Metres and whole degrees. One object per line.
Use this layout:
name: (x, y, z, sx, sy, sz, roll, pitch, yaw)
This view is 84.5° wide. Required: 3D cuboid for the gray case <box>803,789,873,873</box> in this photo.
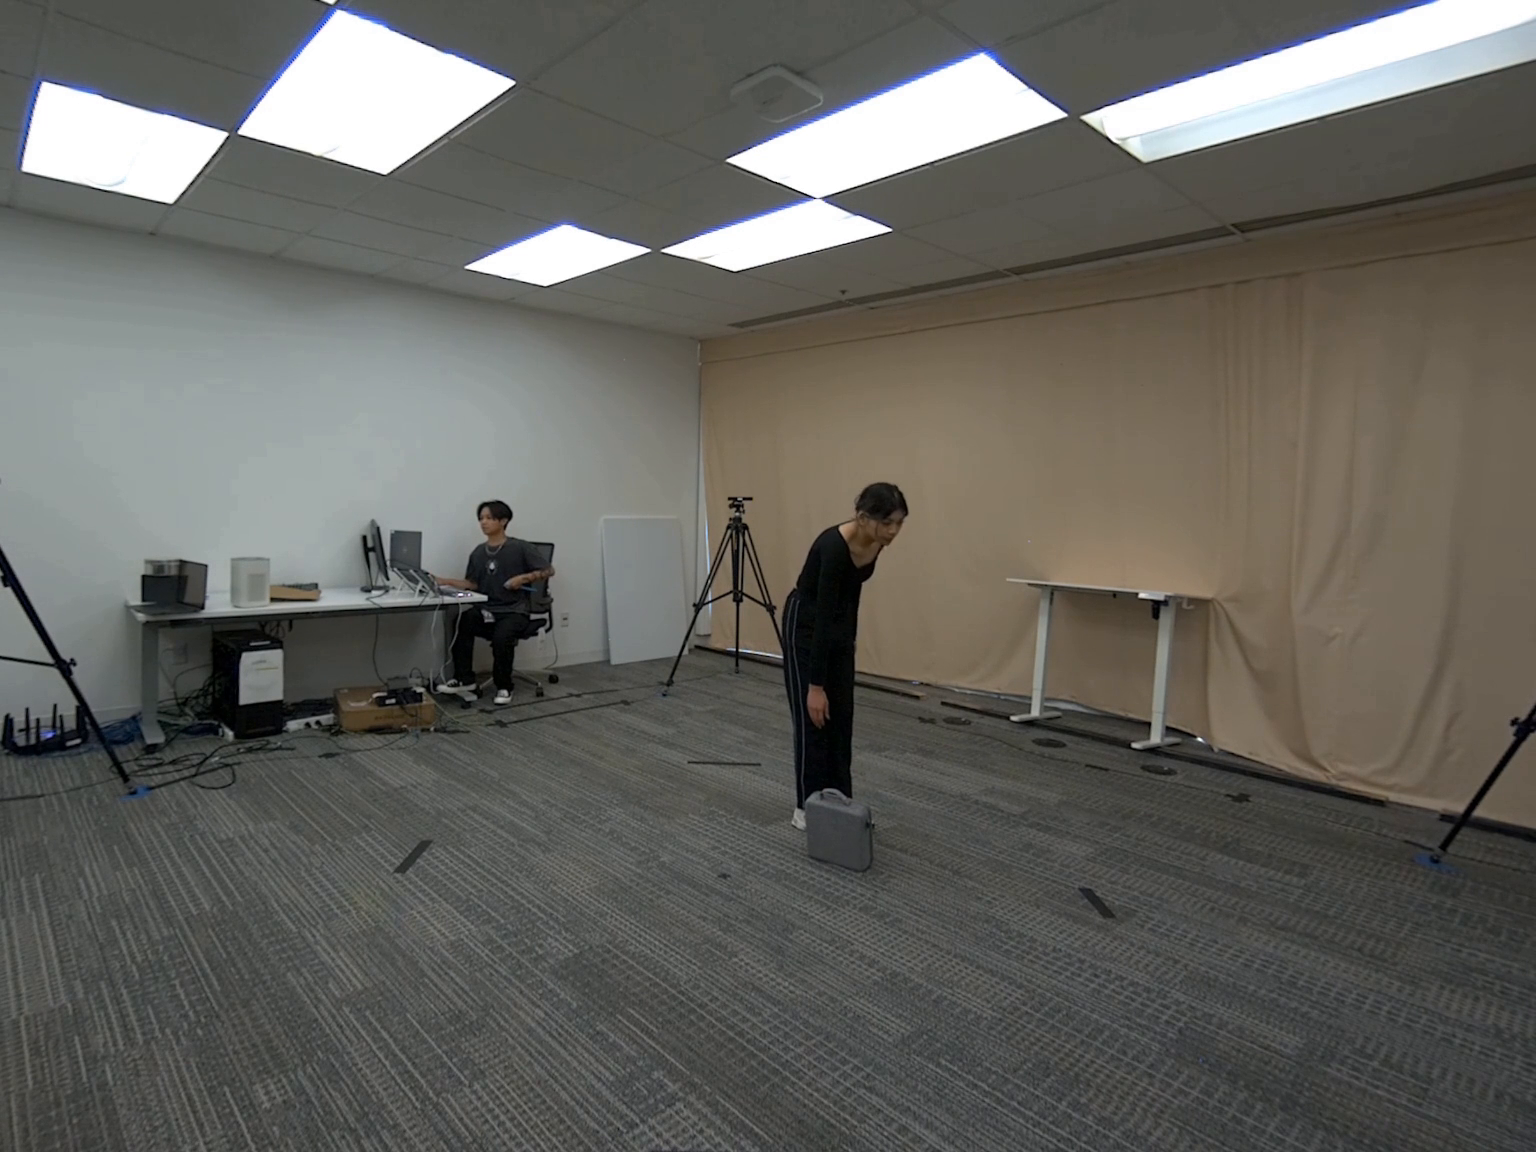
gray case: (0.264, 0.976, 3.232, 0.263, 0.258, 0.103, 4, 14, 34)
